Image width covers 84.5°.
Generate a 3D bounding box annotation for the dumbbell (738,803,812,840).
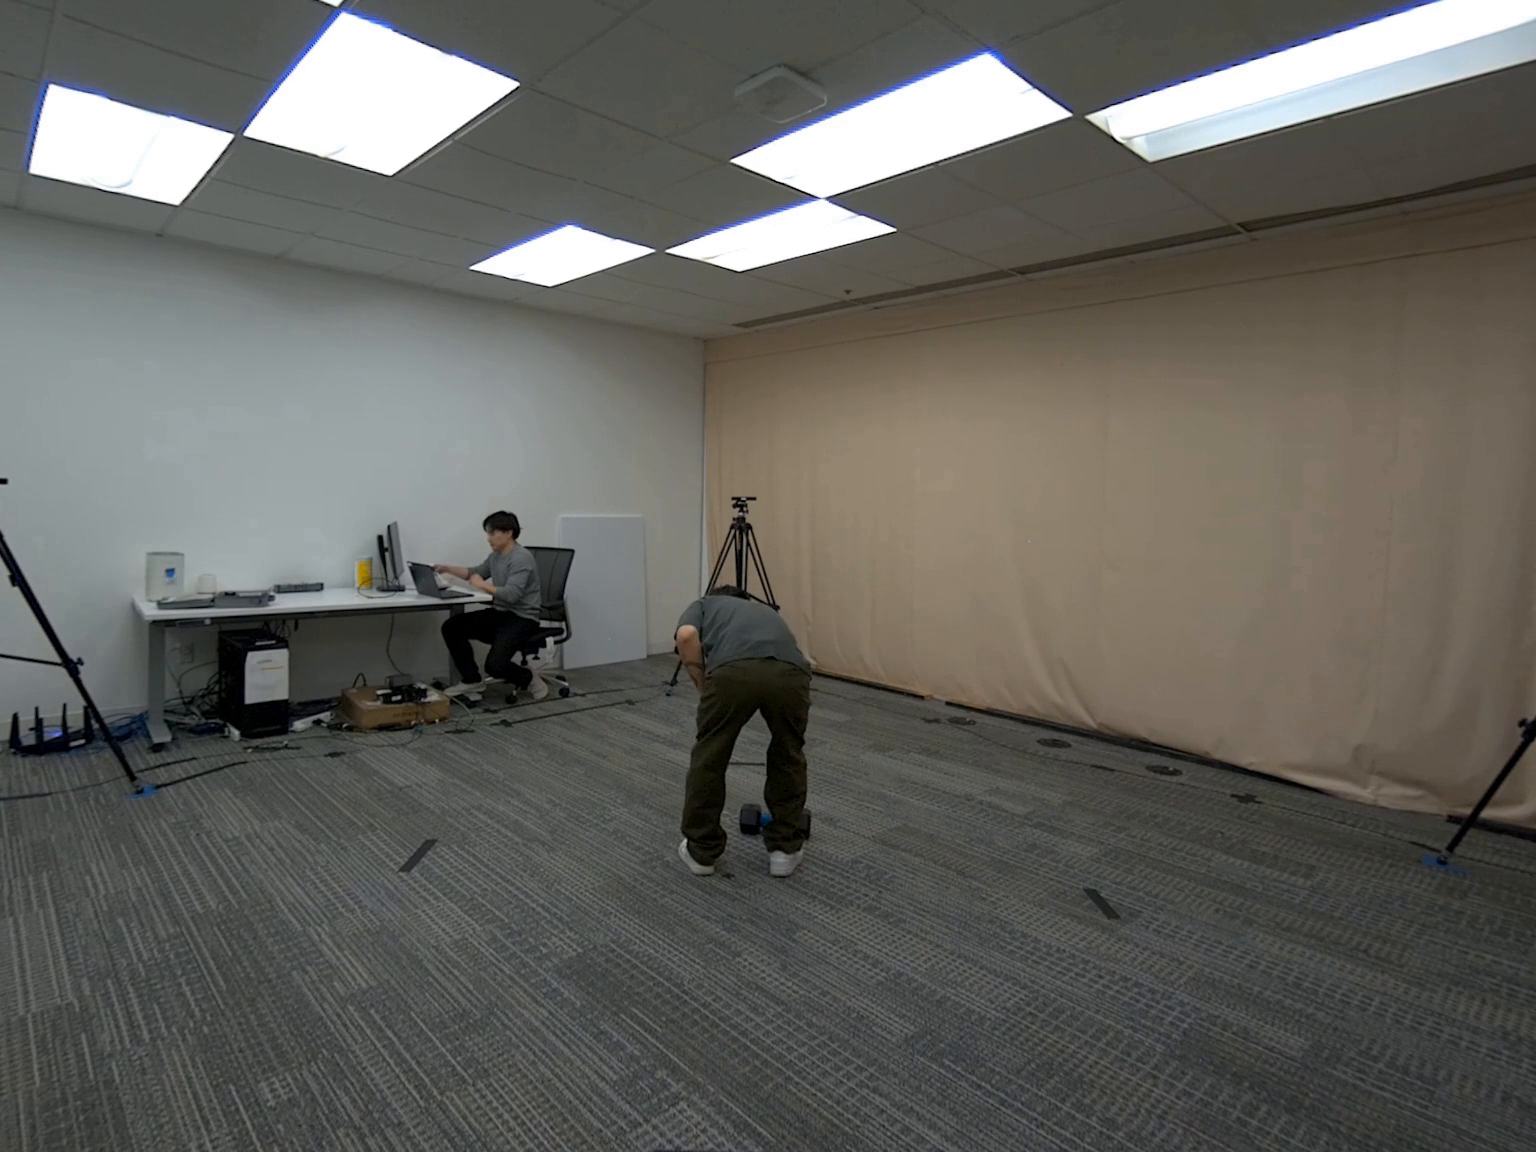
[{"bbox_3d":[0.022,1.024,3.508,0.296,0.125,0.106,2,-26,9],"label":"dumbbell"}]
